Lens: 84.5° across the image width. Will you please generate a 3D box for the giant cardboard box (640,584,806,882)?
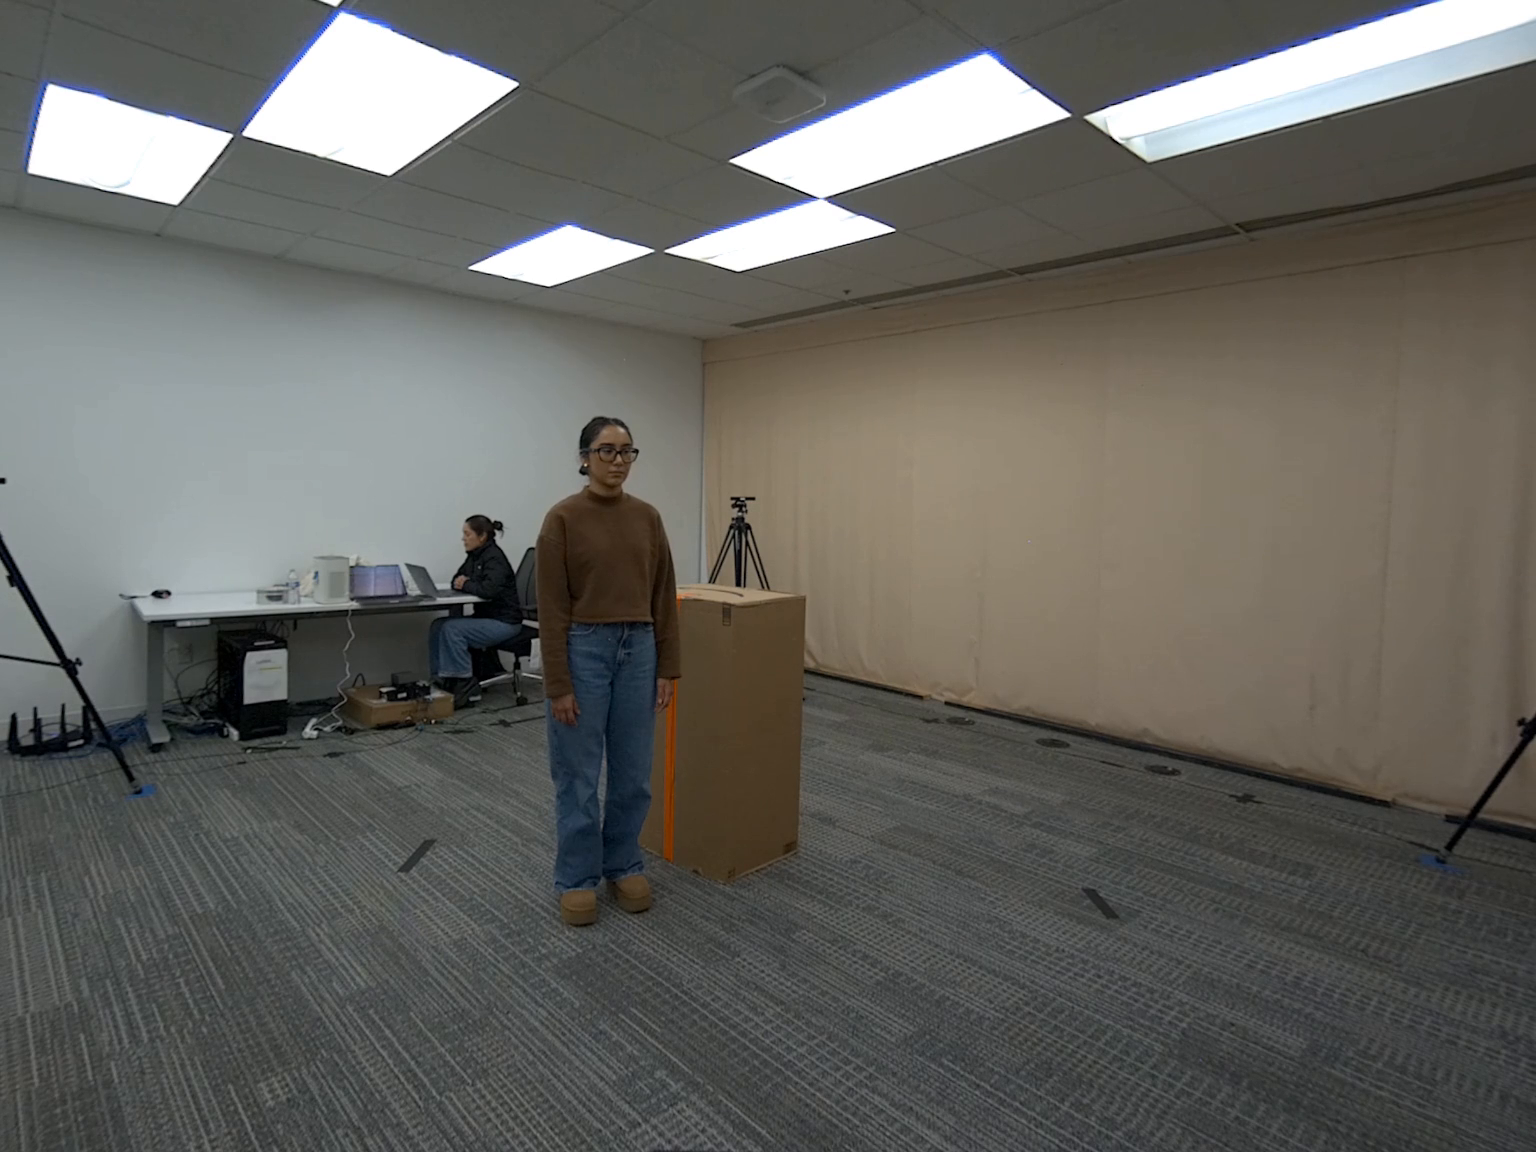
[{"bbox_3d":[-0.221,0.575,3.343,0.592,1.023,0.416,4,5,43],"label":"giant cardboard box"}]
